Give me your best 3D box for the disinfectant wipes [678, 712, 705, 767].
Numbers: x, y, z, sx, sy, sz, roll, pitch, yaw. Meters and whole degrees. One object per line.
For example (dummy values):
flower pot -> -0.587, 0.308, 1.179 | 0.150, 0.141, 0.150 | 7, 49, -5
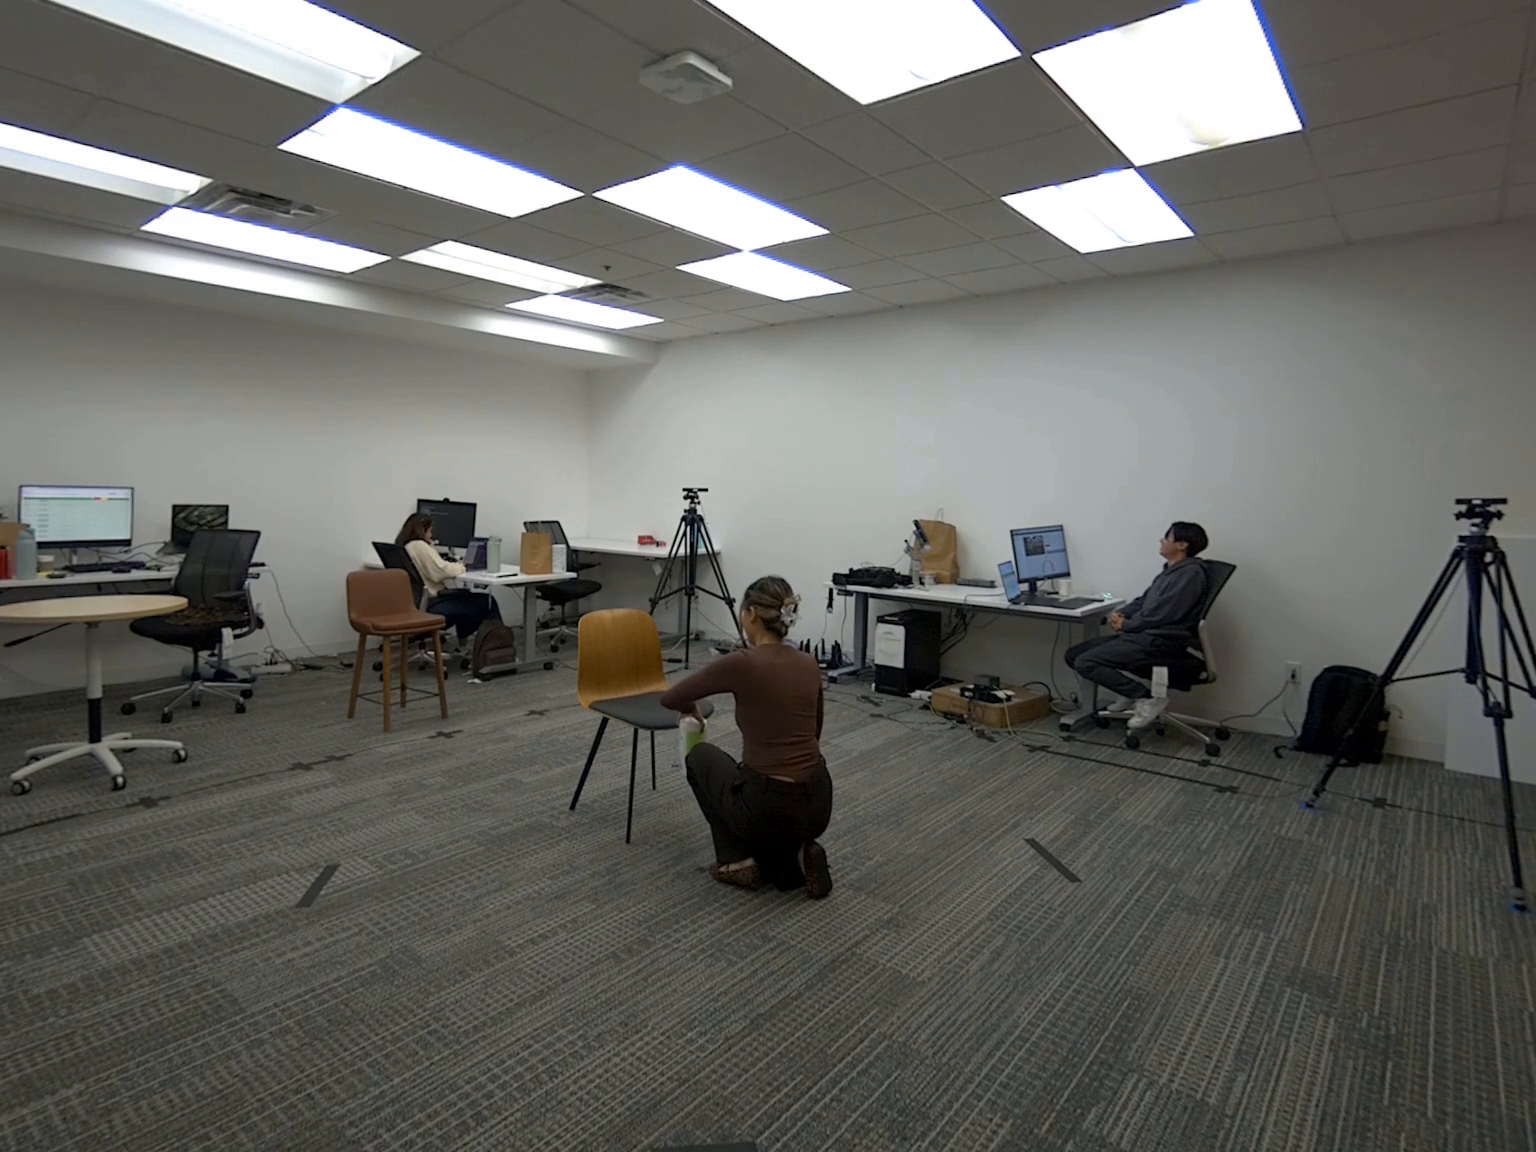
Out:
disinfectant wipes -> -0.305, 0.667, 3.311 | 0.117, 0.216, 0.118 | 2, 6, -2
